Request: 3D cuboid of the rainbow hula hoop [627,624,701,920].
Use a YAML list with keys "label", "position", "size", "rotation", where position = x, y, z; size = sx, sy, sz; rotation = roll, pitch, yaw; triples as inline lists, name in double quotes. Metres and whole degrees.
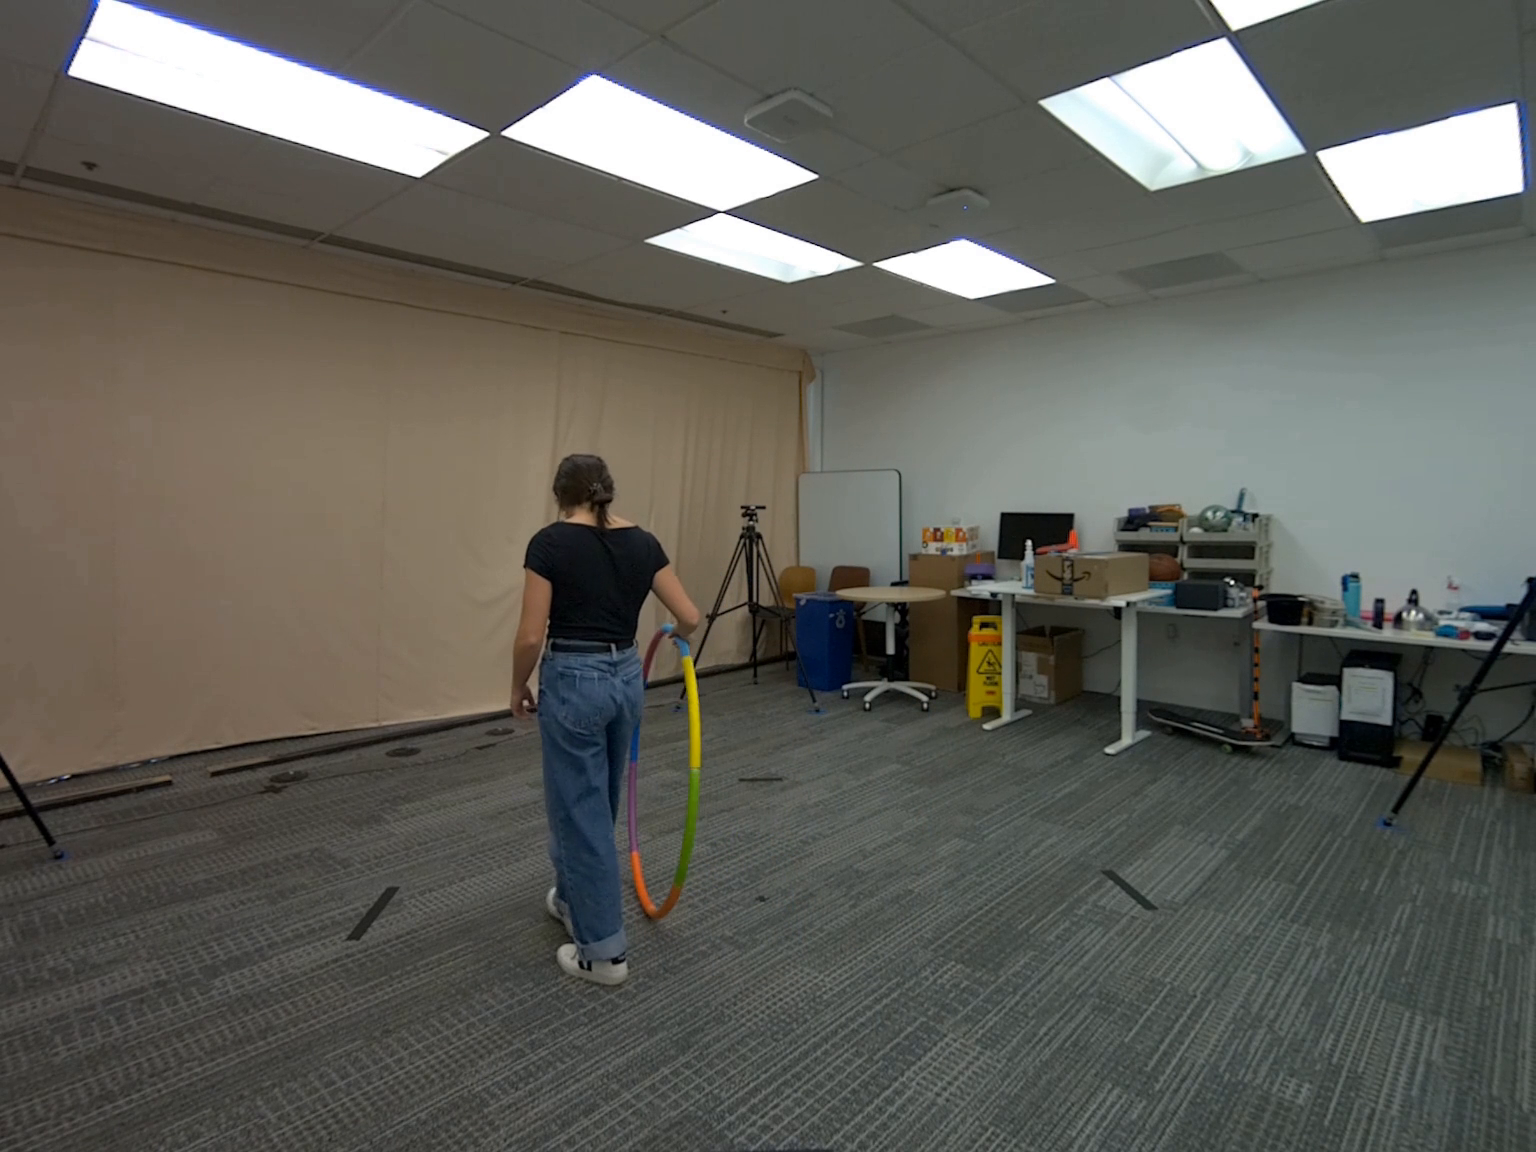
- label: "rainbow hula hoop"
  position: [-0.374, 0.662, 2.956]
  size: [0.035, 0.978, 0.998]
  rotation: [6, 2, -19]
